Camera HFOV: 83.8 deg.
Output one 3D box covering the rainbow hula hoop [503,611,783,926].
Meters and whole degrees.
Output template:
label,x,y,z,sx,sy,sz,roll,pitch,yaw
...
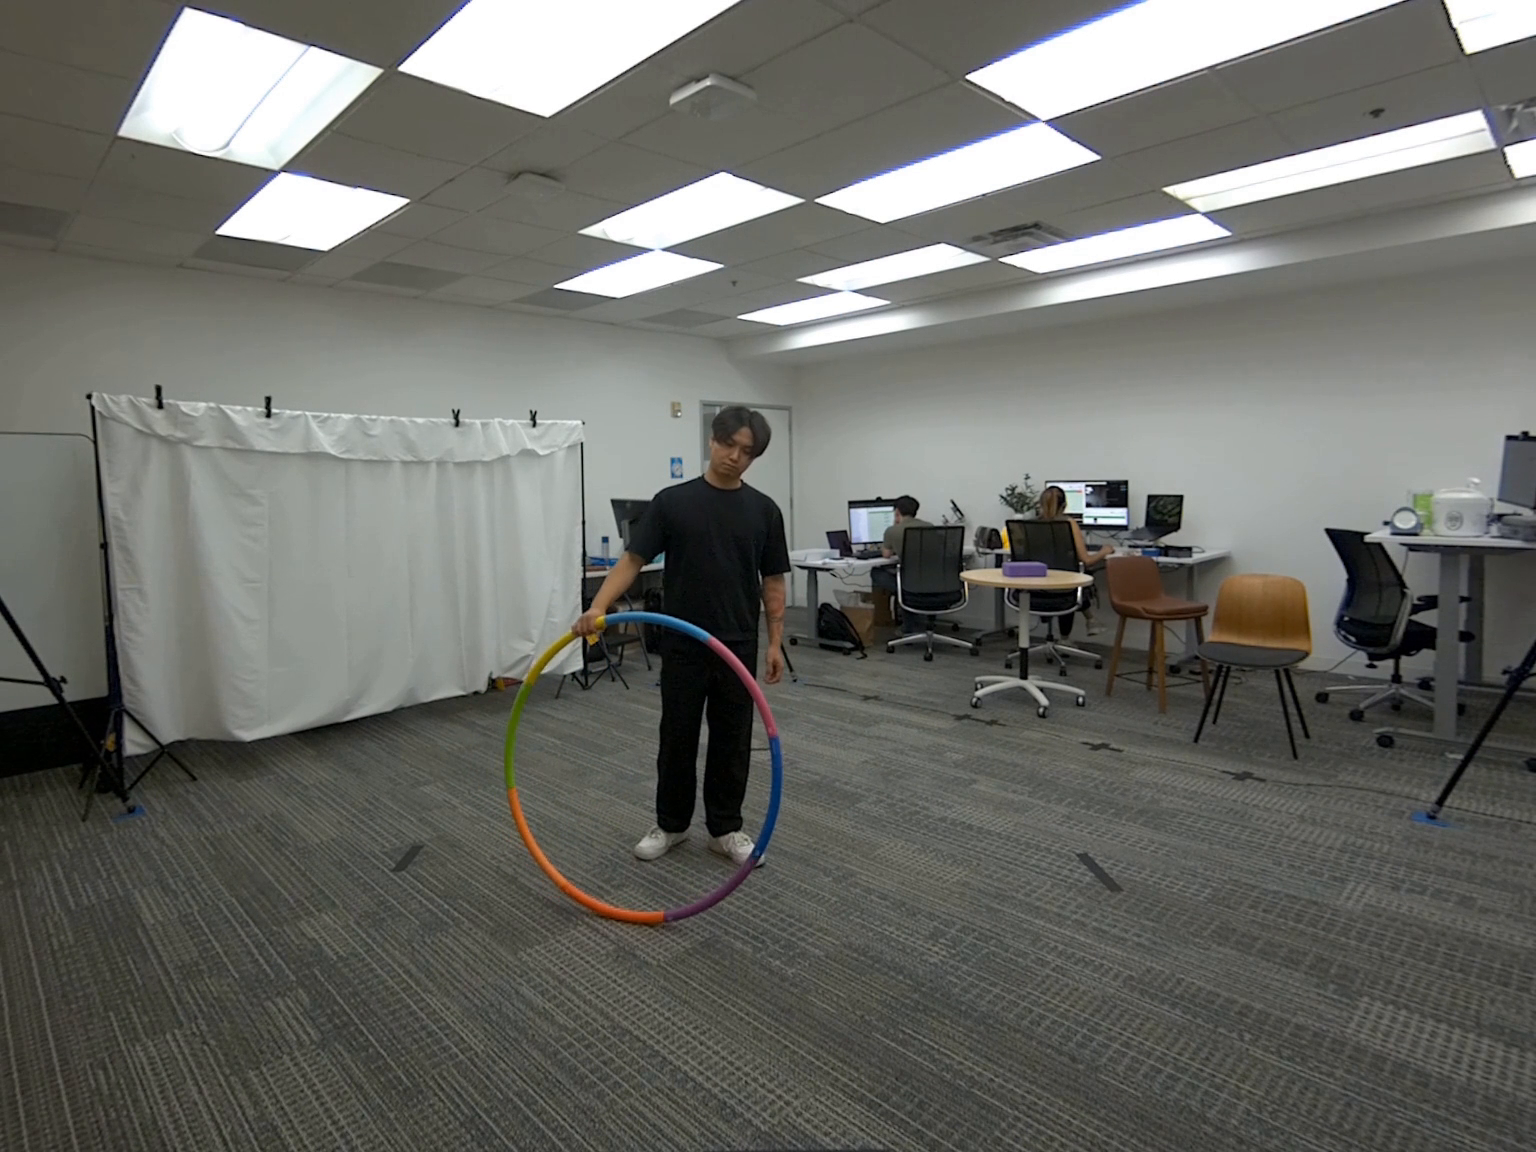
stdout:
label,x,y,z,sx,sy,sz,roll,pitch,yaw
rainbow hula hoop,-0.426,0.611,2.759,0.997,0.981,0.035,1,-3,20
